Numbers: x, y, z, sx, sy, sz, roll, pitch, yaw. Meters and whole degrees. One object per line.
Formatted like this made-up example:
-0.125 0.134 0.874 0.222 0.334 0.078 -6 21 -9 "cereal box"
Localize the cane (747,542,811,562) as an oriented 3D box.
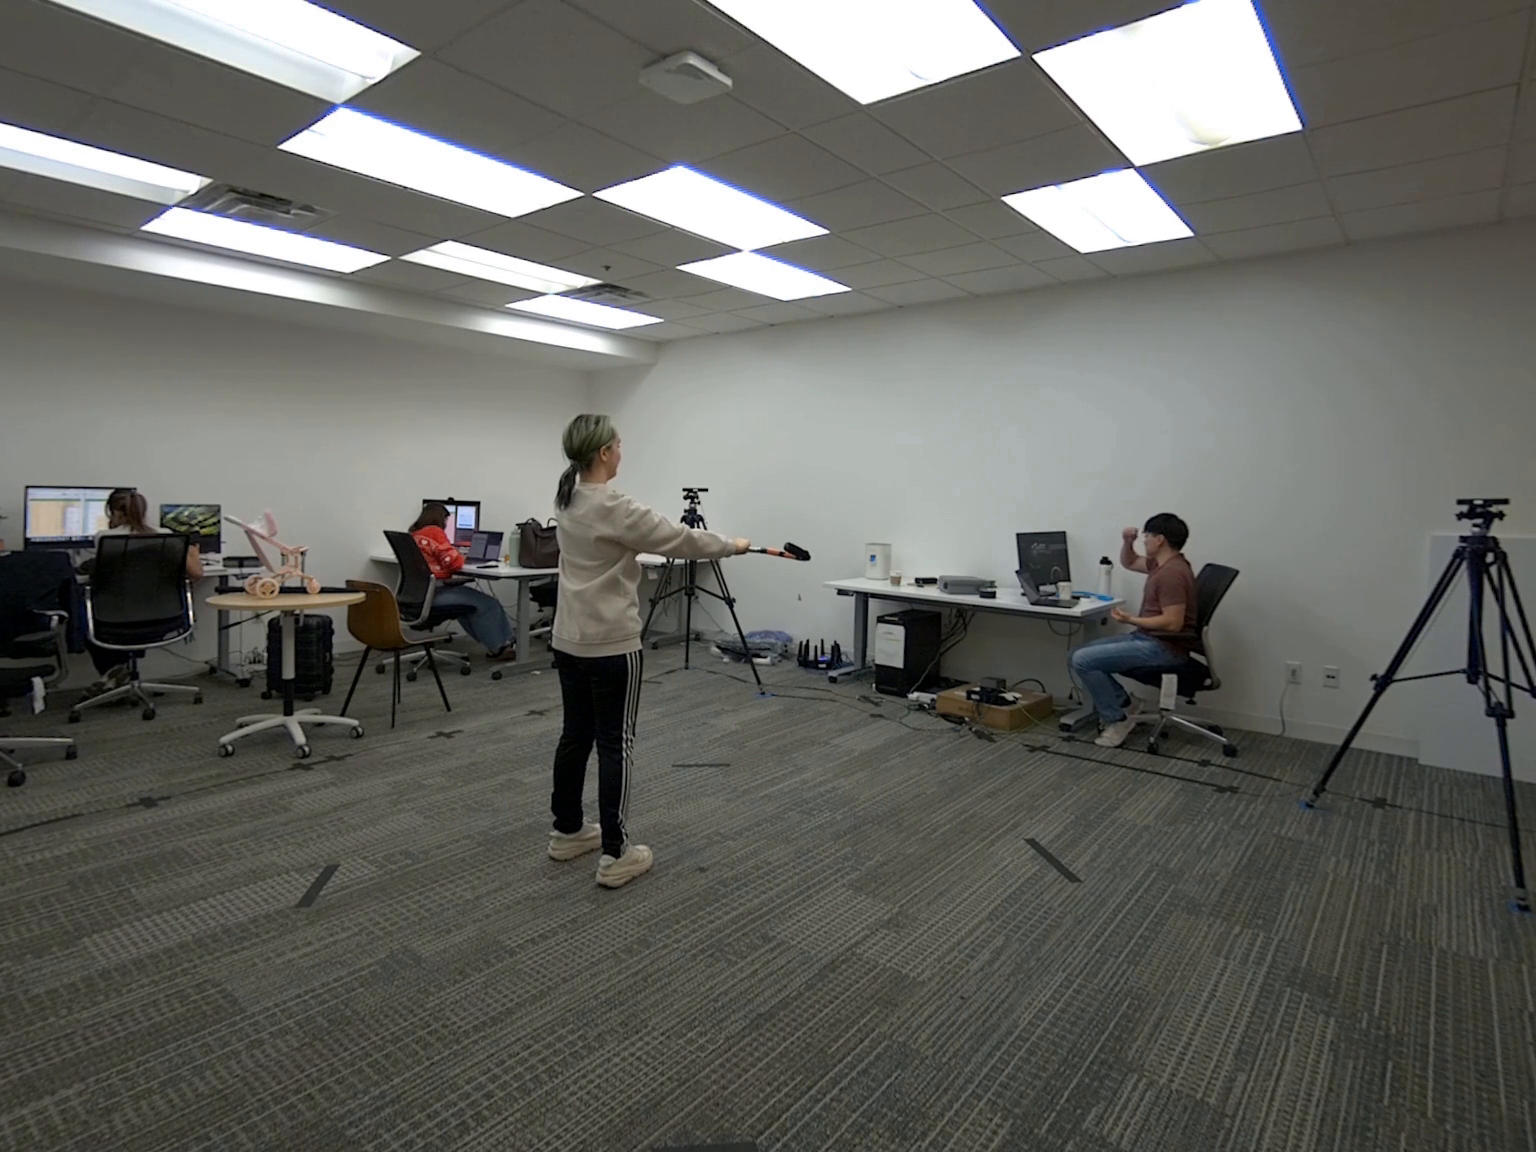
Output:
-0.197 -0.117 3.439 0.198 0.152 0.940 26 -12 -41 "cane"
